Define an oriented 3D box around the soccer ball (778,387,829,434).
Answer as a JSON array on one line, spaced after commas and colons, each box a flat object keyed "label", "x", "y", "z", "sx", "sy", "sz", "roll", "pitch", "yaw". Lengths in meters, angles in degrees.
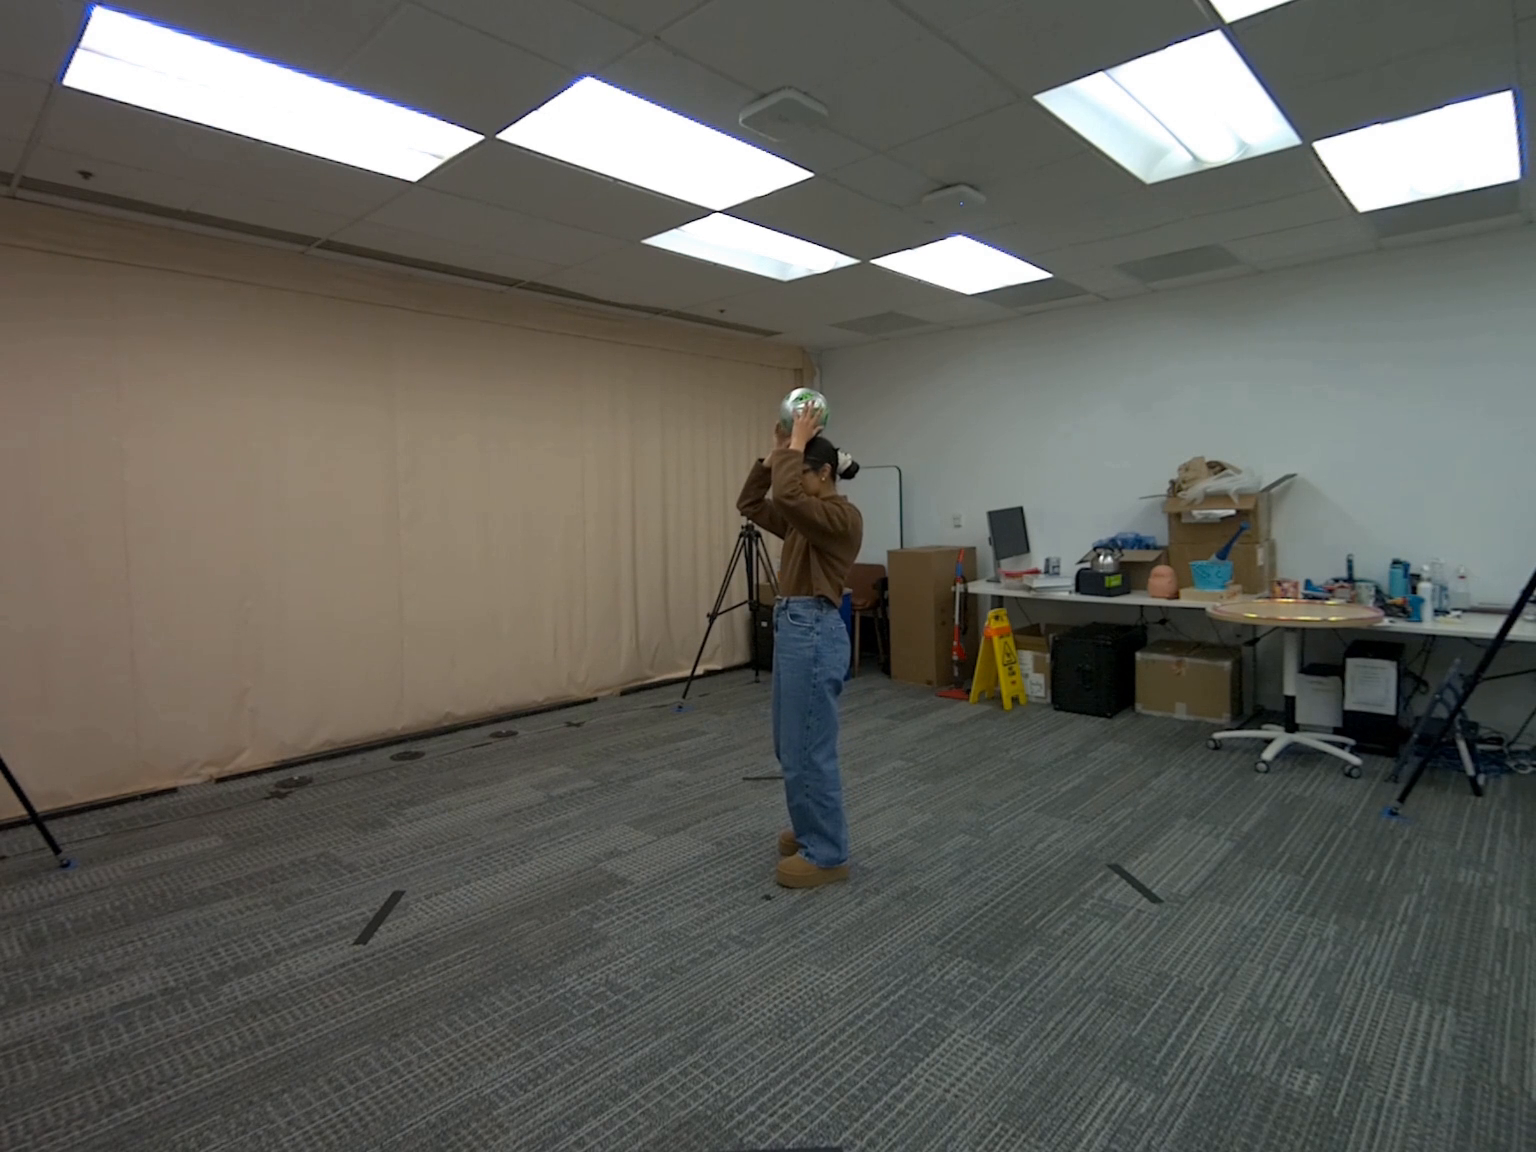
[{"label": "soccer ball", "x": 0.135, "y": -0.596, "z": 3.099, "sx": 0.187, "sy": 0.187, "sz": 0.188, "roll": -1, "pitch": 4, "yaw": -2}]
